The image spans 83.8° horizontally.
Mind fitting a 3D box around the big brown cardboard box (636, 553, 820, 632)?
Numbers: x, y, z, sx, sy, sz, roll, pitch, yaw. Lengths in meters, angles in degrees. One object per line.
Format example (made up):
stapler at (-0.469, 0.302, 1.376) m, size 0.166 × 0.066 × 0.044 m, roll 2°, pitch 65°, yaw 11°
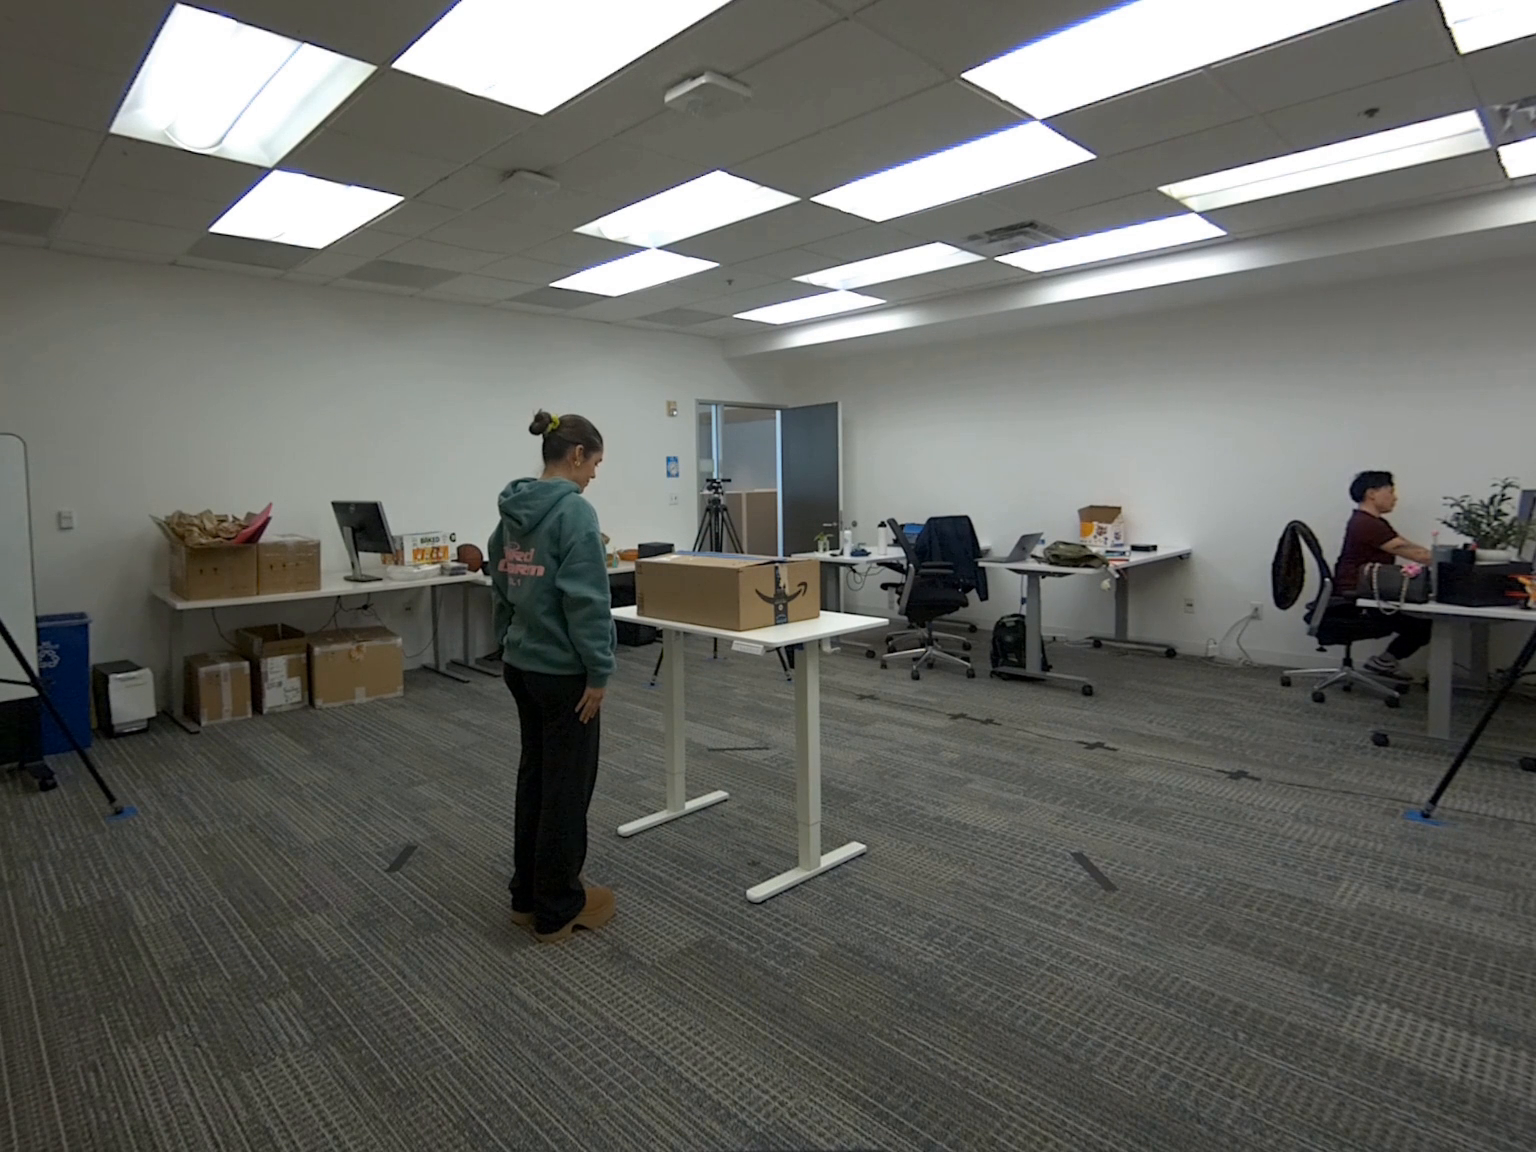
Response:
big brown cardboard box at (-0.159, 0.046, 3.204) m, size 0.607 × 0.232 × 0.406 m, roll 6°, pitch 8°, yaw 44°
